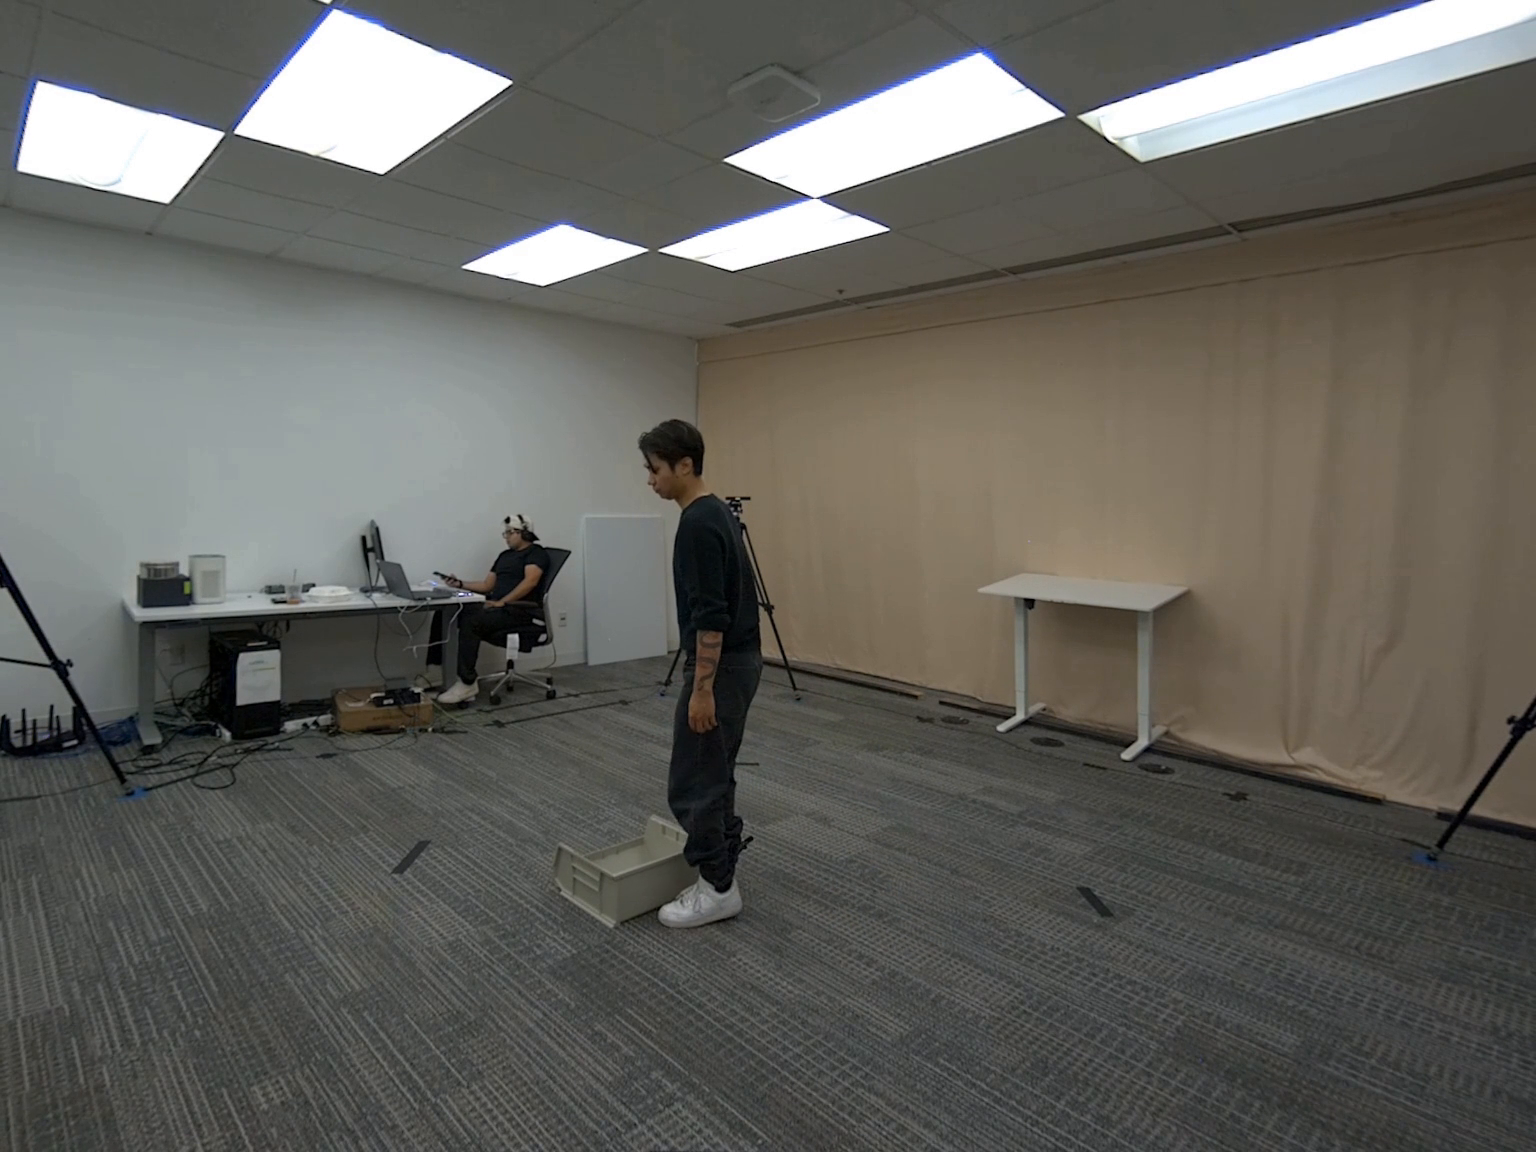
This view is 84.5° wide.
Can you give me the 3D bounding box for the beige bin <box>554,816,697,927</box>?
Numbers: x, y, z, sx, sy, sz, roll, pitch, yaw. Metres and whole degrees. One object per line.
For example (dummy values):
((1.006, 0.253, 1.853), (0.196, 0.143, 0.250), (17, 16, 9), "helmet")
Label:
((-0.491, 1.024, 2.971), (0.412, 0.188, 0.387), (-2, 7, -44), "beige bin")
